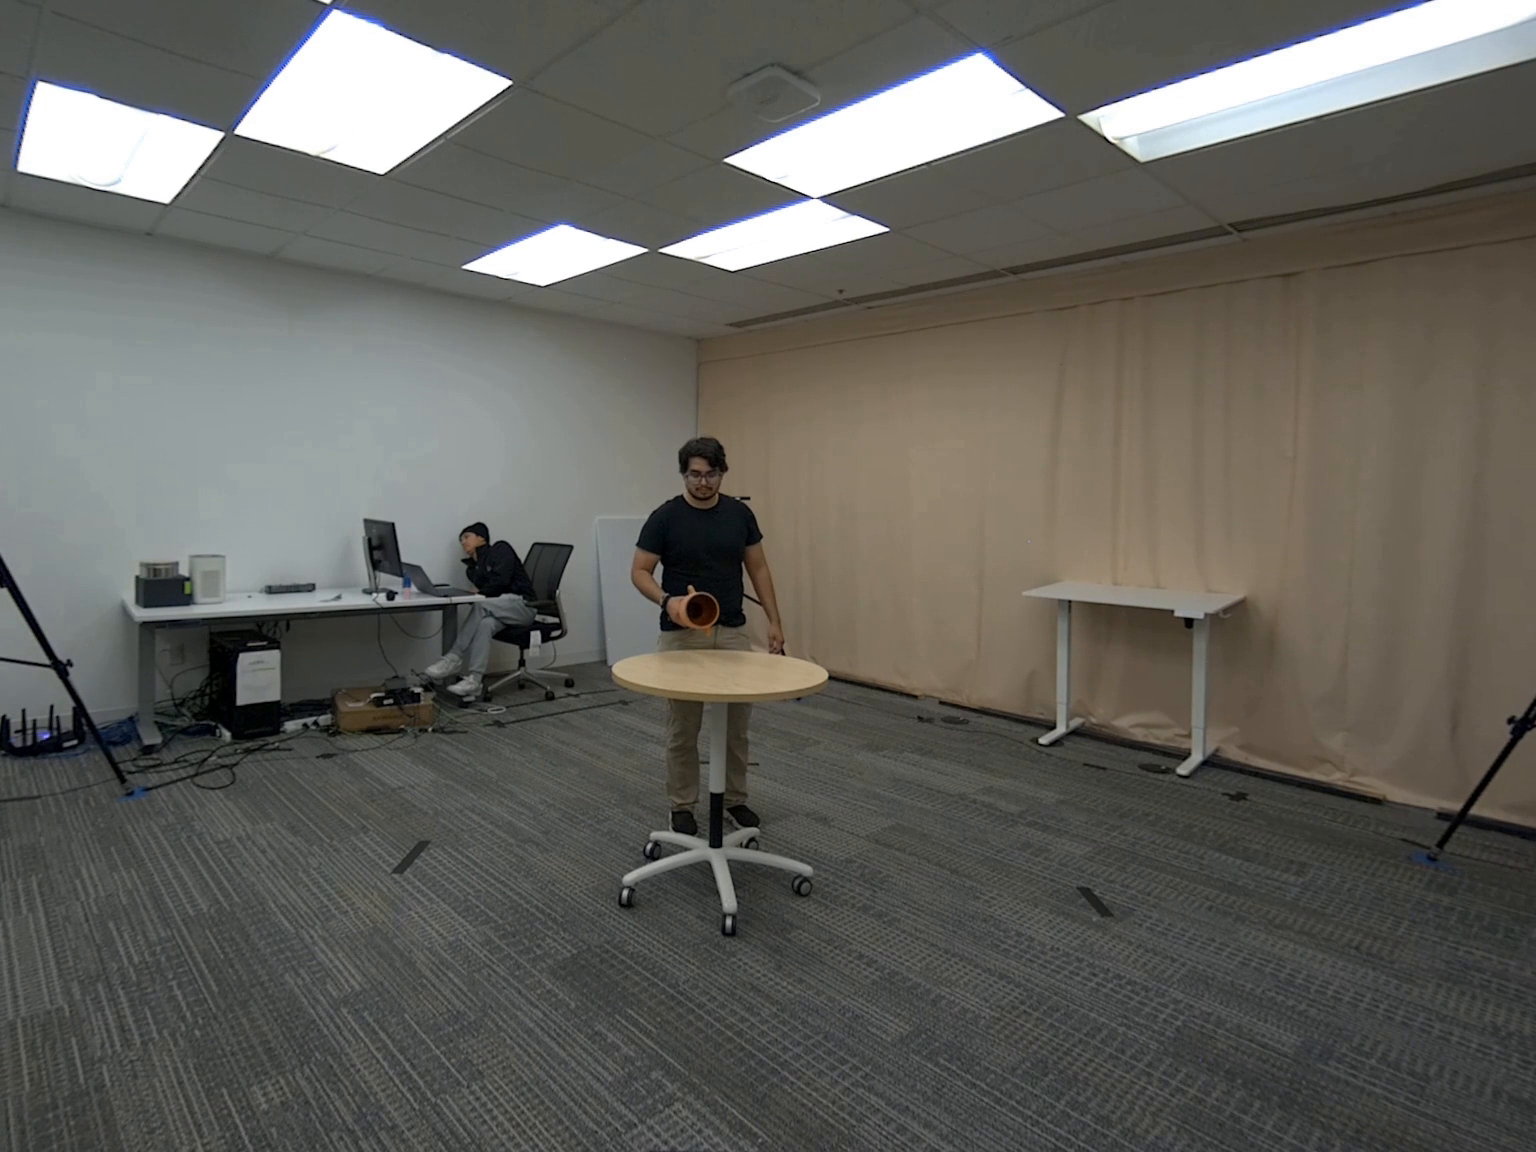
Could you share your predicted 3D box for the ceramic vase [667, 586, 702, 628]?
[{"bbox_3d":[-0.285,0.126,3.151,0.133,0.159,0.221,21,-10,-13],"label":"ceramic vase"}]
